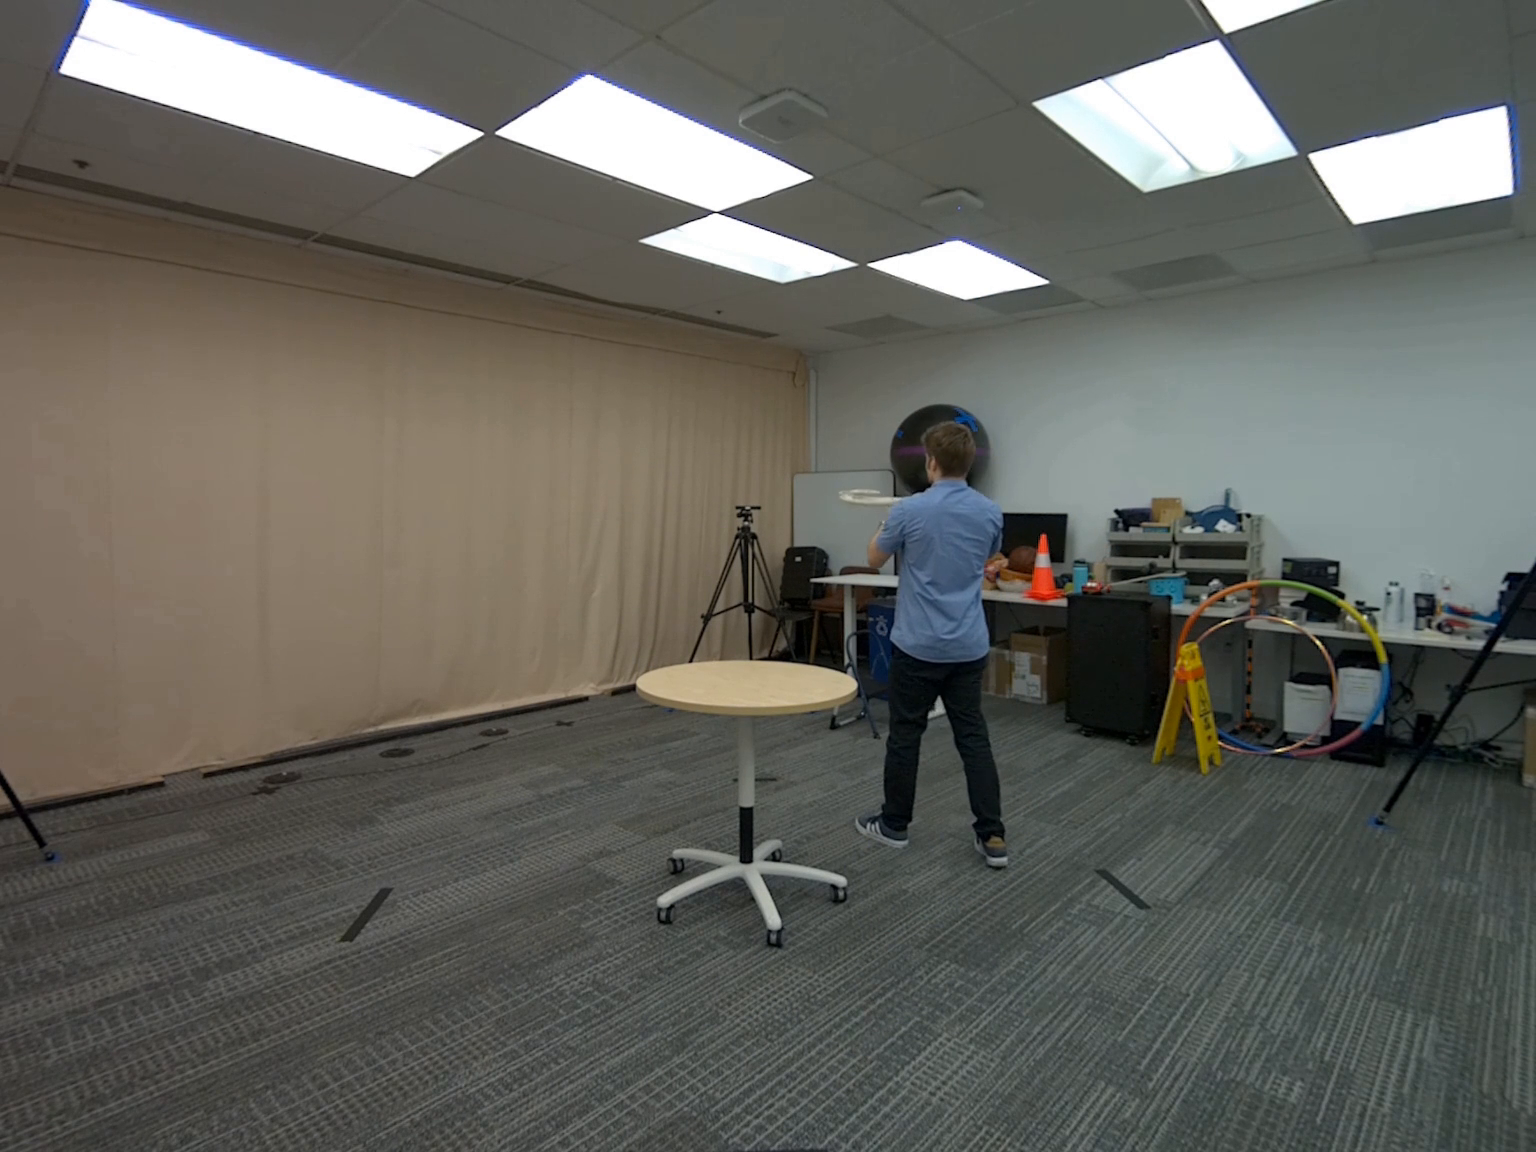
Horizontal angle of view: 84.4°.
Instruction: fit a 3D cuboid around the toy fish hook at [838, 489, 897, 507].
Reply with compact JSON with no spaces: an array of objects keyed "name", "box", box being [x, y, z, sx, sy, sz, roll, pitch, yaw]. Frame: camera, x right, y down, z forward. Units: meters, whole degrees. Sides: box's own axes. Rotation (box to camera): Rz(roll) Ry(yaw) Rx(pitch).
[{"name":"toy fish hook","box":[0.599,-0.365,3.913,0.511,0.047,0.226,4,26,7]}]
